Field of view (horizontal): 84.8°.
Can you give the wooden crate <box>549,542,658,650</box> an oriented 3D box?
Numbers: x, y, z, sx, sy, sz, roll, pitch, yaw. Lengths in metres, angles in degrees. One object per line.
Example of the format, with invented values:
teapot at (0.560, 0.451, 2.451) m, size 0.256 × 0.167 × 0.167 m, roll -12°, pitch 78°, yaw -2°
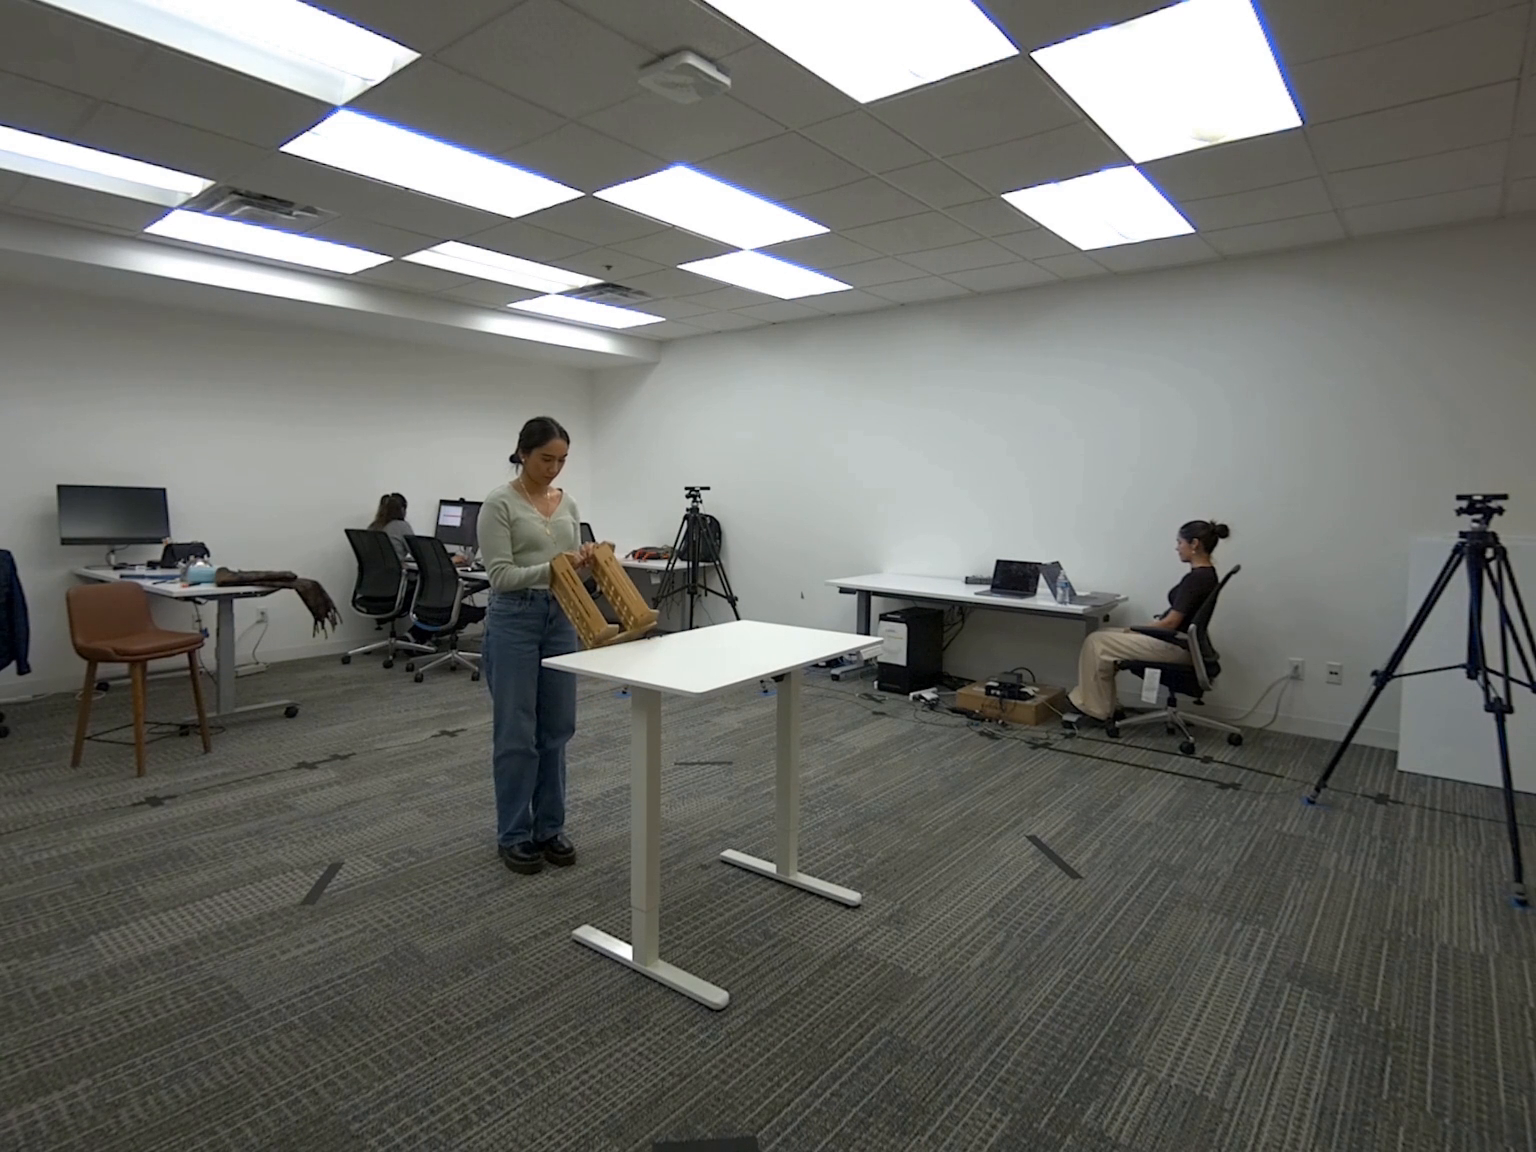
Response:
wooden crate at (-0.570, 0.057, 2.911) m, size 0.270 × 0.331 × 0.299 m, roll -29°, pitch -14°, yaw -24°
